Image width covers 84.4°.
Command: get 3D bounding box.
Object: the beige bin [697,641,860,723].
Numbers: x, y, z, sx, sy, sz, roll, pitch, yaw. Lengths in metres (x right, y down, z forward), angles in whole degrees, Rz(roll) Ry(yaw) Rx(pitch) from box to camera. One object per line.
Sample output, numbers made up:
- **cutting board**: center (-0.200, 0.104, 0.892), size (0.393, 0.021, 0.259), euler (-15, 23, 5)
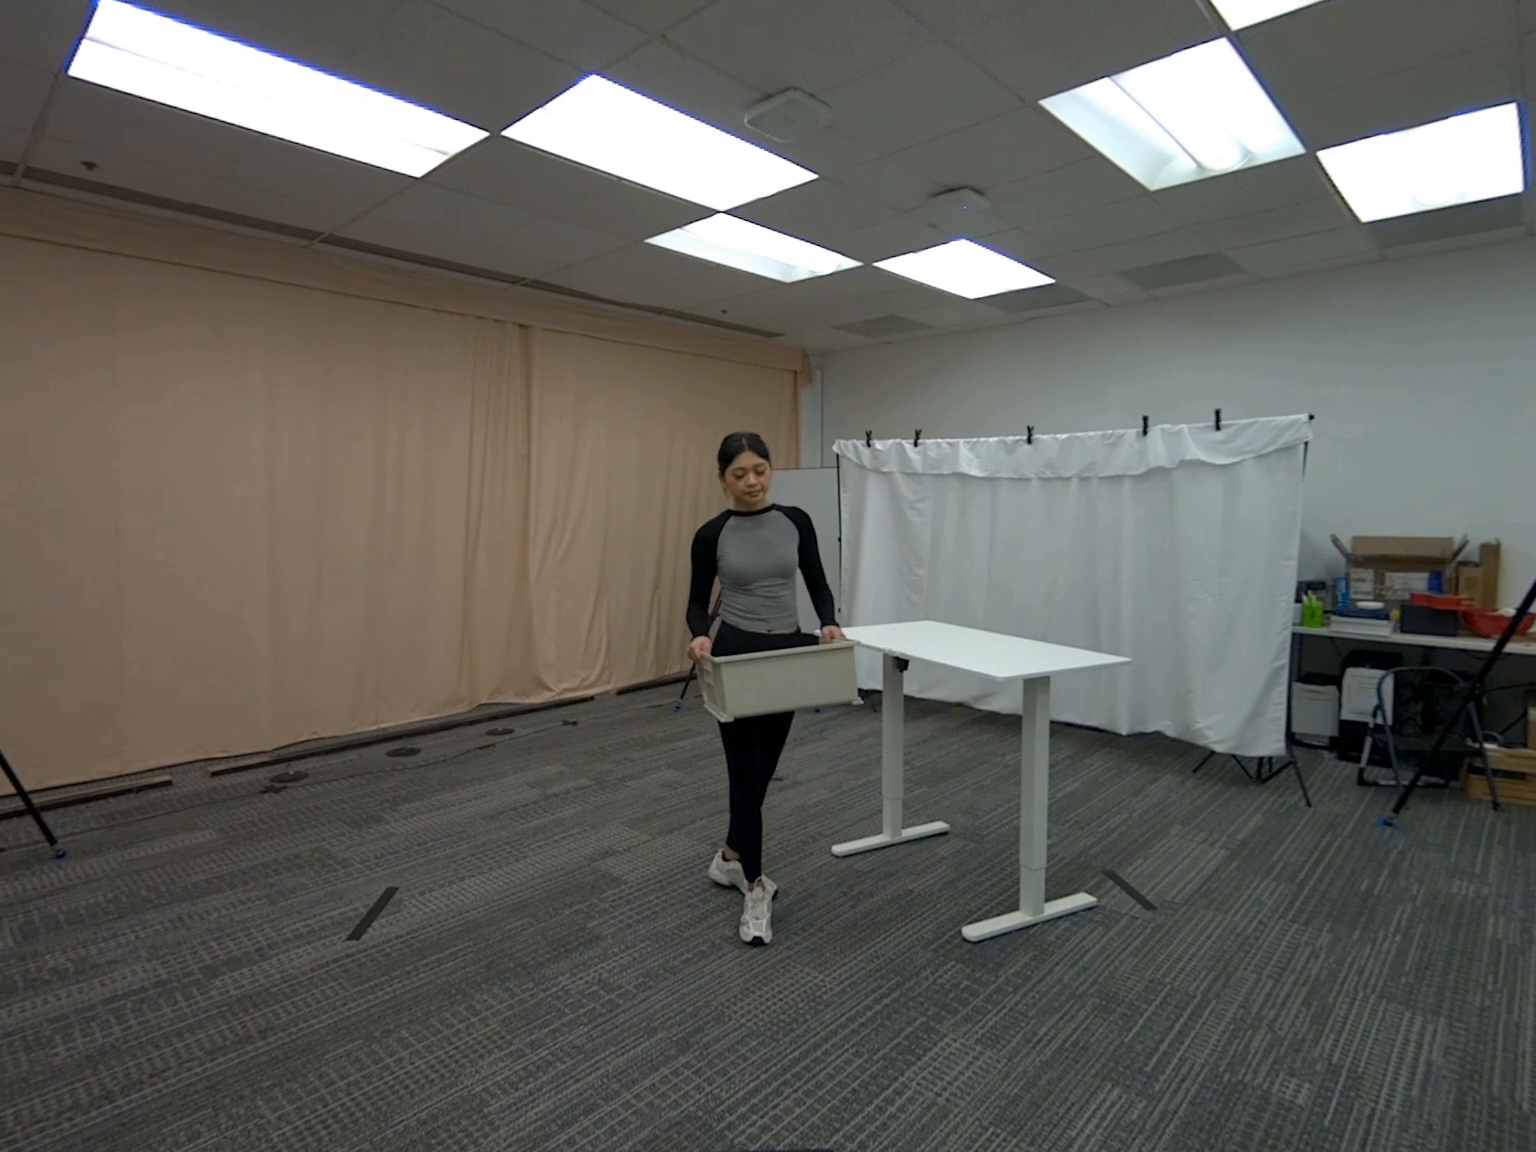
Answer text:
- **beige bin**: center (0.027, 0.298, 2.522), size (0.417, 0.189, 0.382), euler (-6, 2, -13)
